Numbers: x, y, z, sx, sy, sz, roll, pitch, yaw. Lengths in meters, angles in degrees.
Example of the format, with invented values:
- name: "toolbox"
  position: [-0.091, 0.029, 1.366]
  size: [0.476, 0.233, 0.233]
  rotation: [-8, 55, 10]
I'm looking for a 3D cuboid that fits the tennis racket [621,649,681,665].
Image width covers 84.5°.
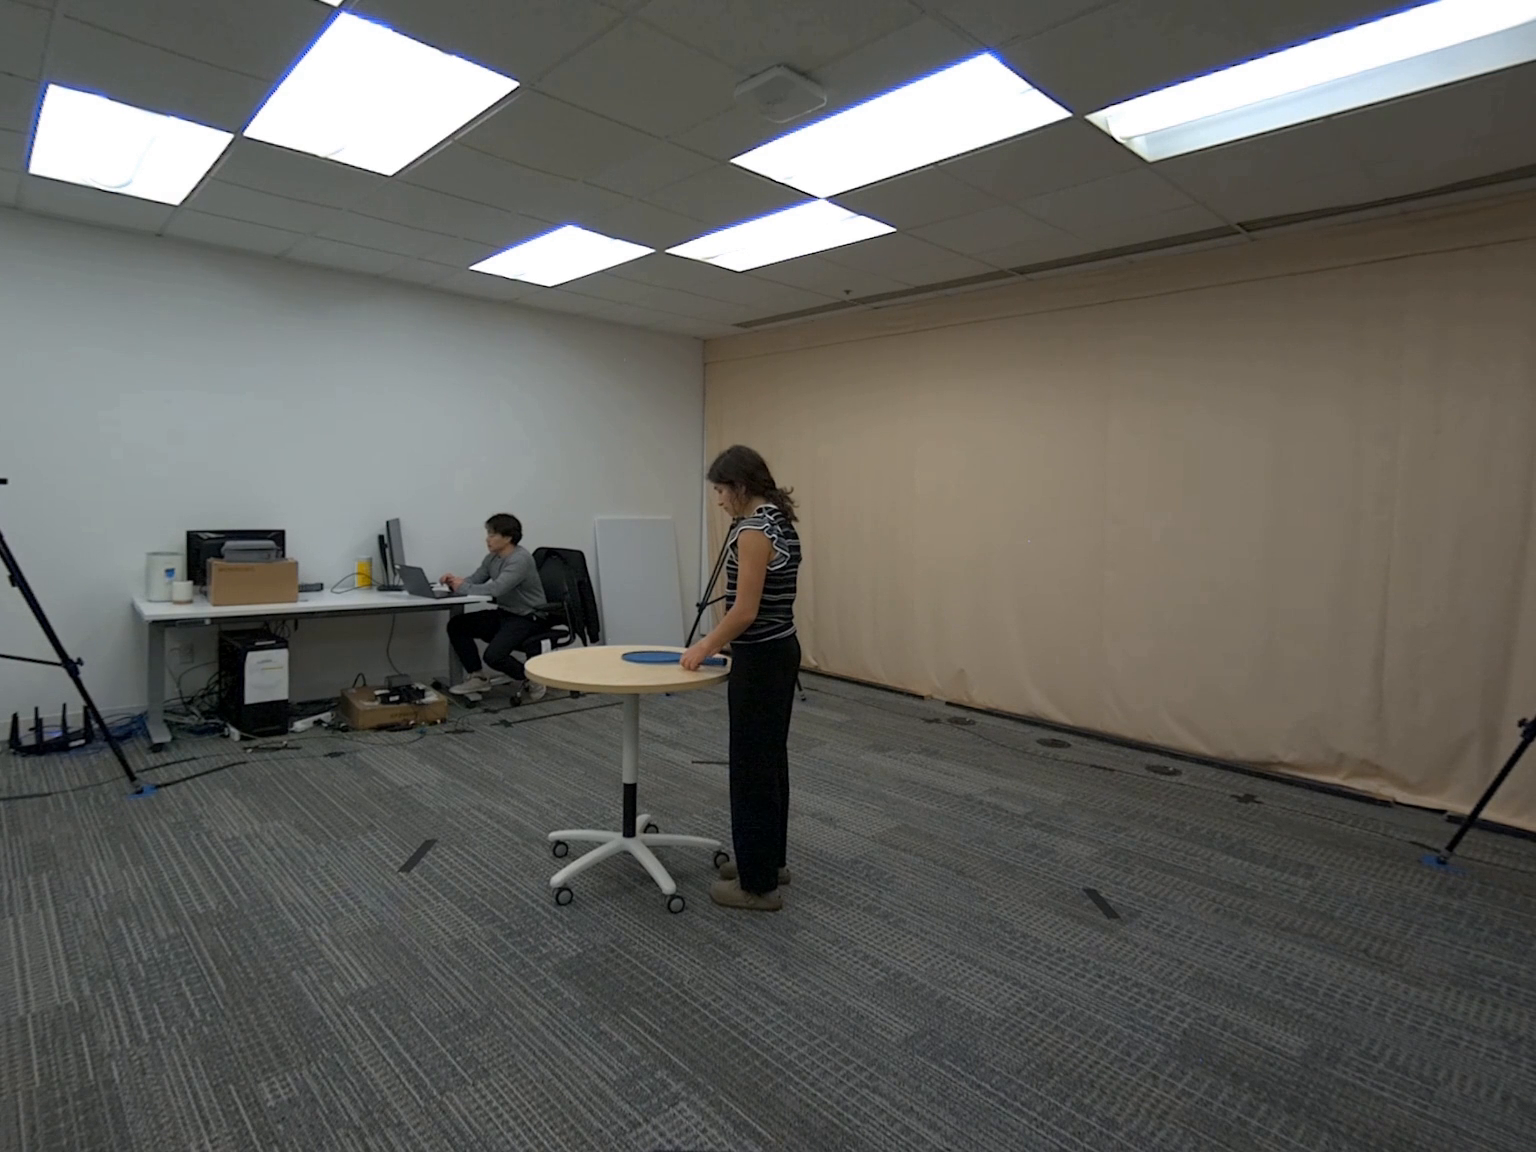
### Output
- name: "tennis racket"
  position: [-0.356, 0.304, 3.121]
  size: [0.442, 0.031, 0.210]
  rotation: [2, 7, 29]
